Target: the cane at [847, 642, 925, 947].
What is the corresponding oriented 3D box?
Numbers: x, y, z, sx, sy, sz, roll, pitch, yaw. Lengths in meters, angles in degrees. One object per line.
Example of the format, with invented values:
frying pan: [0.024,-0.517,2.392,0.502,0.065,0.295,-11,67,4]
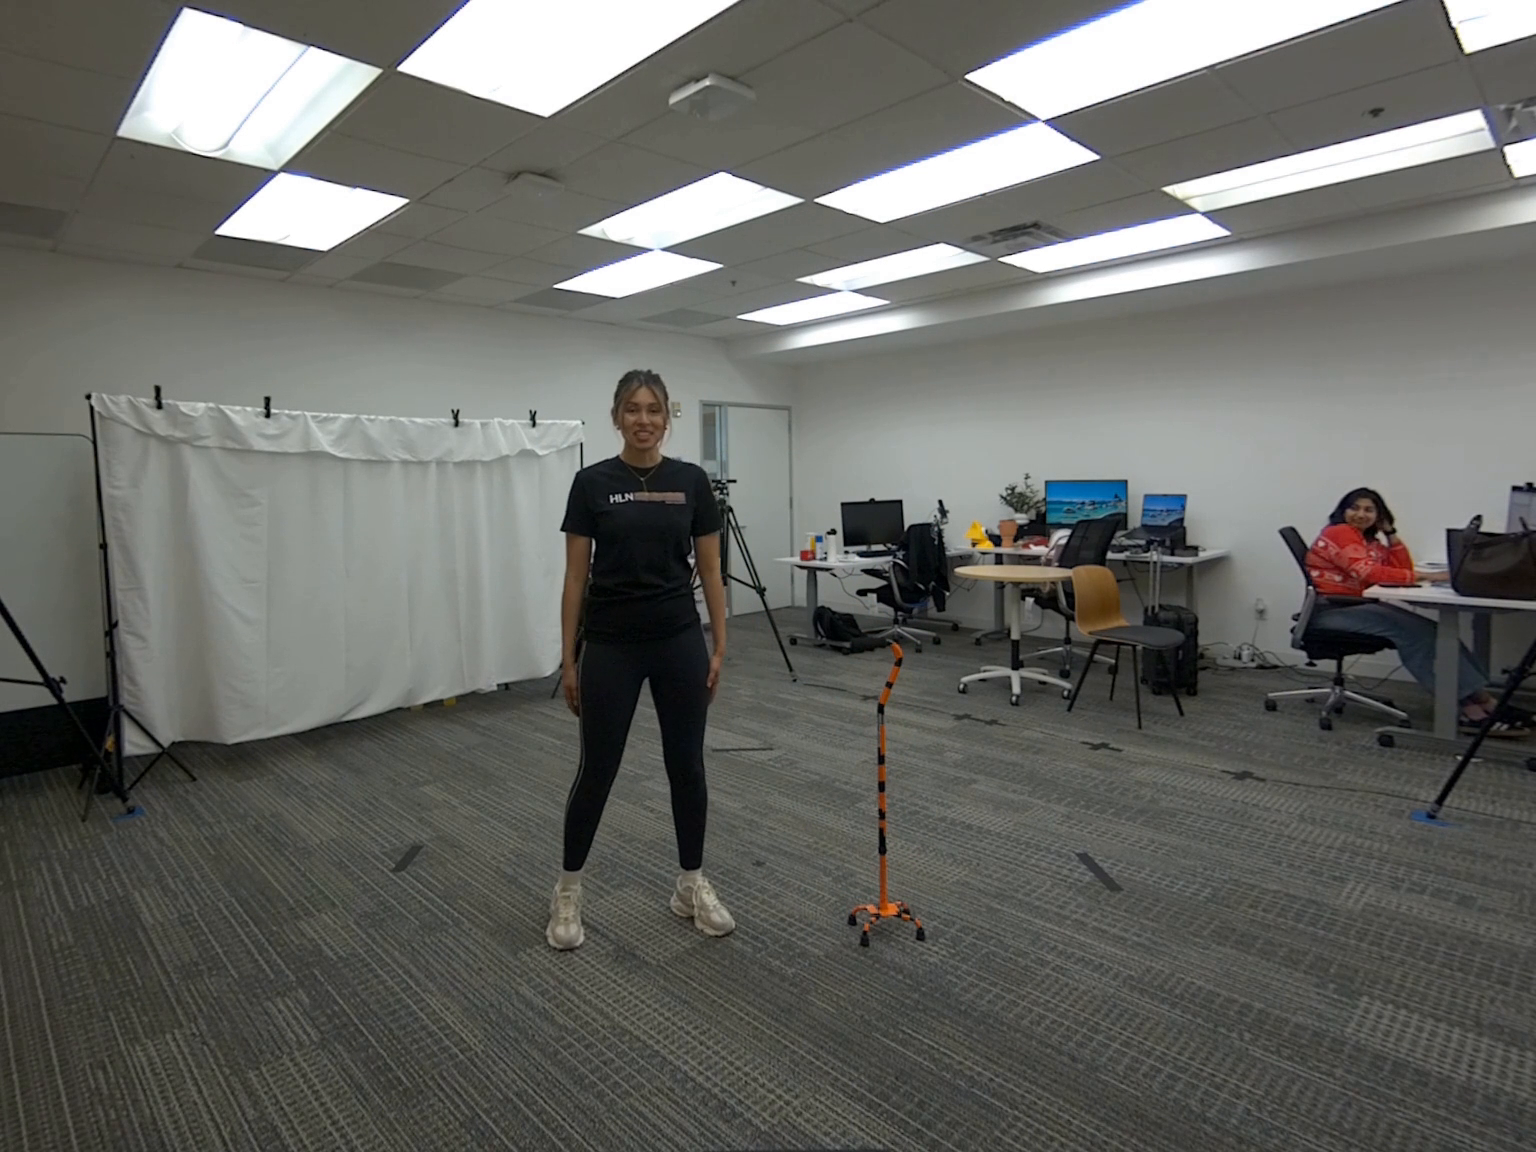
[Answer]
cane: [0.360,0.641,2.603,0.204,0.905,0.153,-2,3,-10]
